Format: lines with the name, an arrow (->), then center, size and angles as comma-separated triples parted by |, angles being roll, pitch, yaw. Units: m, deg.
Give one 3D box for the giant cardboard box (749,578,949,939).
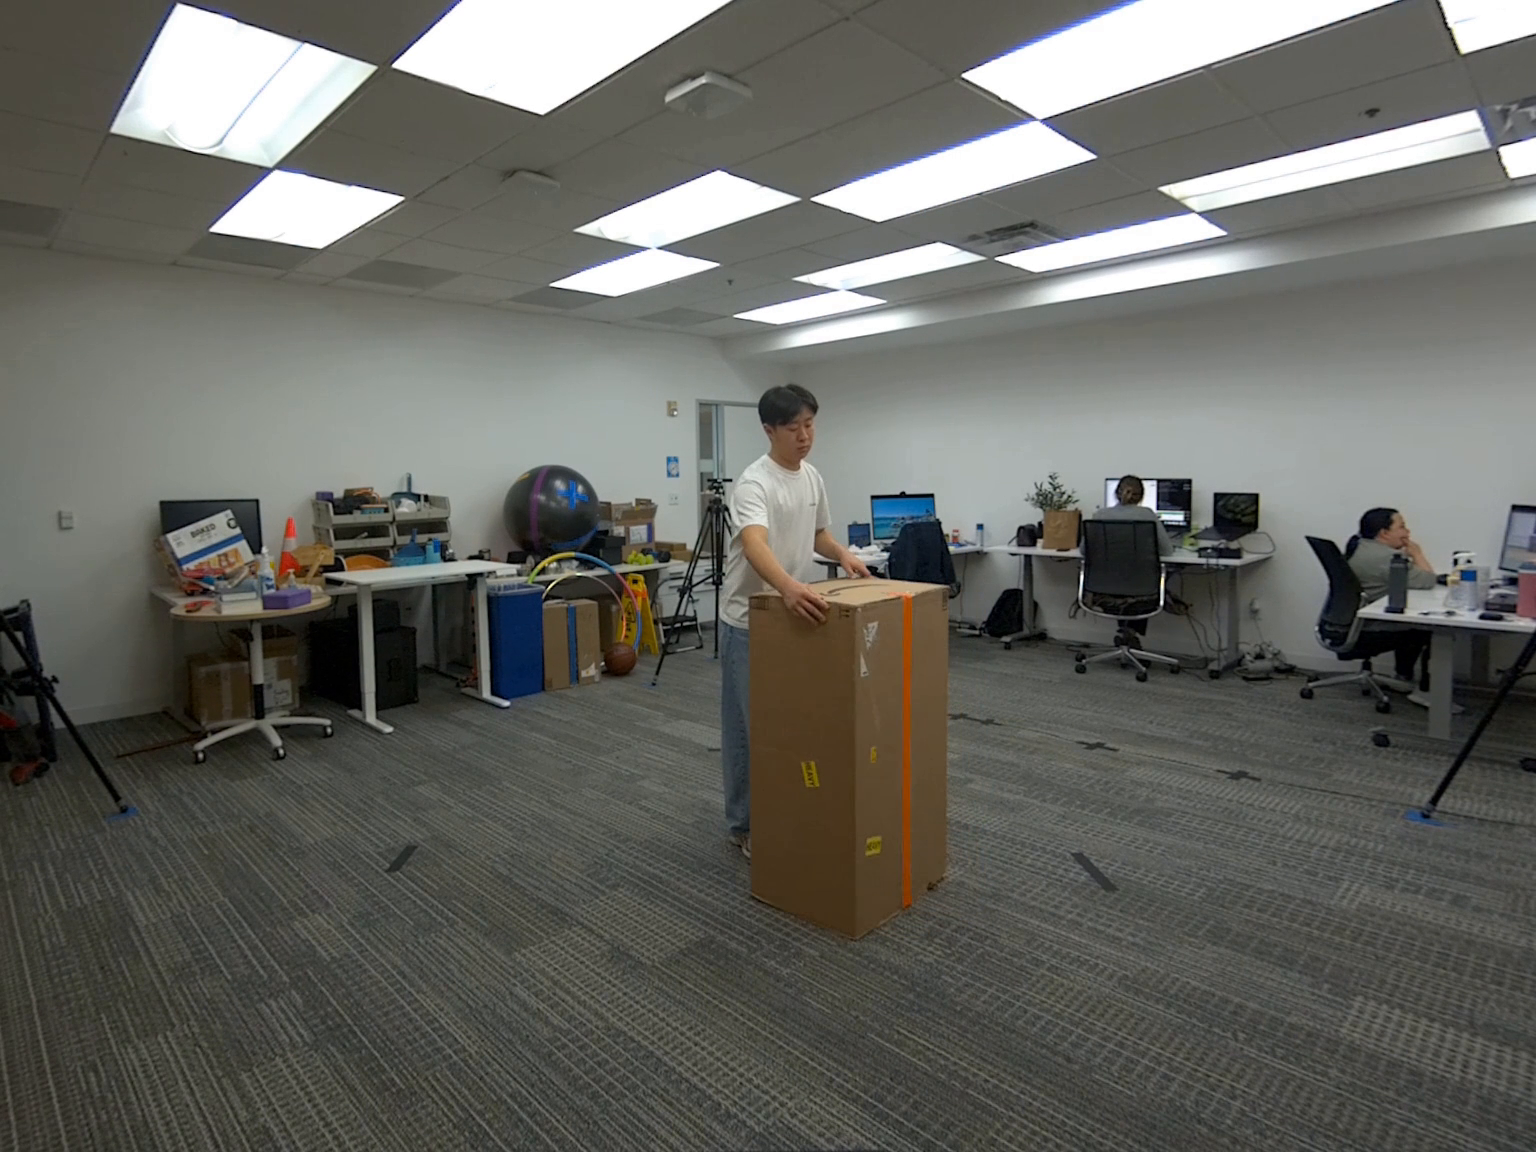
giant cardboard box -> 0.292, 0.555, 2.882 | 0.439, 1.022, 0.562 | 3, 5, 42
